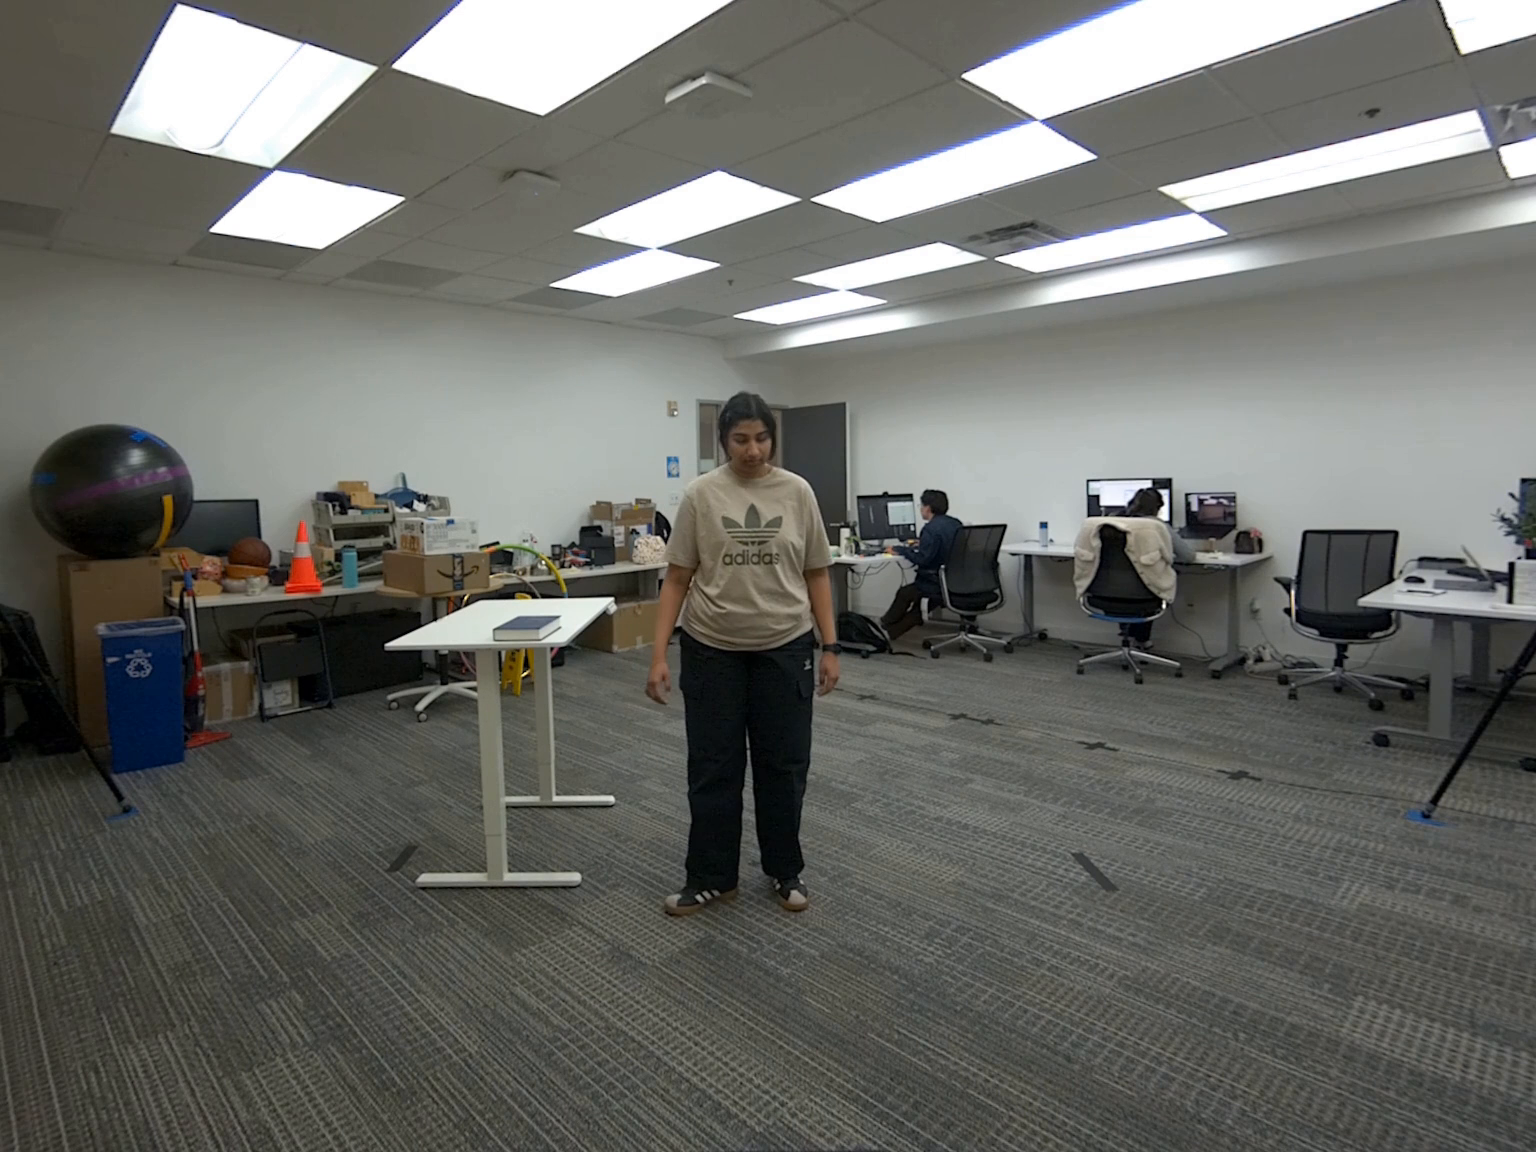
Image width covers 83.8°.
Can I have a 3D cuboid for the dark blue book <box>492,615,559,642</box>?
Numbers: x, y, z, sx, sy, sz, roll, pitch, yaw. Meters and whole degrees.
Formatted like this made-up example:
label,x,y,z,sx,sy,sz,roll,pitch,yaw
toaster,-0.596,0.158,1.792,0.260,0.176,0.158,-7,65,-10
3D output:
label,x,y,z,sx,sy,sz,roll,pitch,yaw
dark blue book,-0.828,0.178,2.949,0.164,0.045,0.245,-3,7,5
